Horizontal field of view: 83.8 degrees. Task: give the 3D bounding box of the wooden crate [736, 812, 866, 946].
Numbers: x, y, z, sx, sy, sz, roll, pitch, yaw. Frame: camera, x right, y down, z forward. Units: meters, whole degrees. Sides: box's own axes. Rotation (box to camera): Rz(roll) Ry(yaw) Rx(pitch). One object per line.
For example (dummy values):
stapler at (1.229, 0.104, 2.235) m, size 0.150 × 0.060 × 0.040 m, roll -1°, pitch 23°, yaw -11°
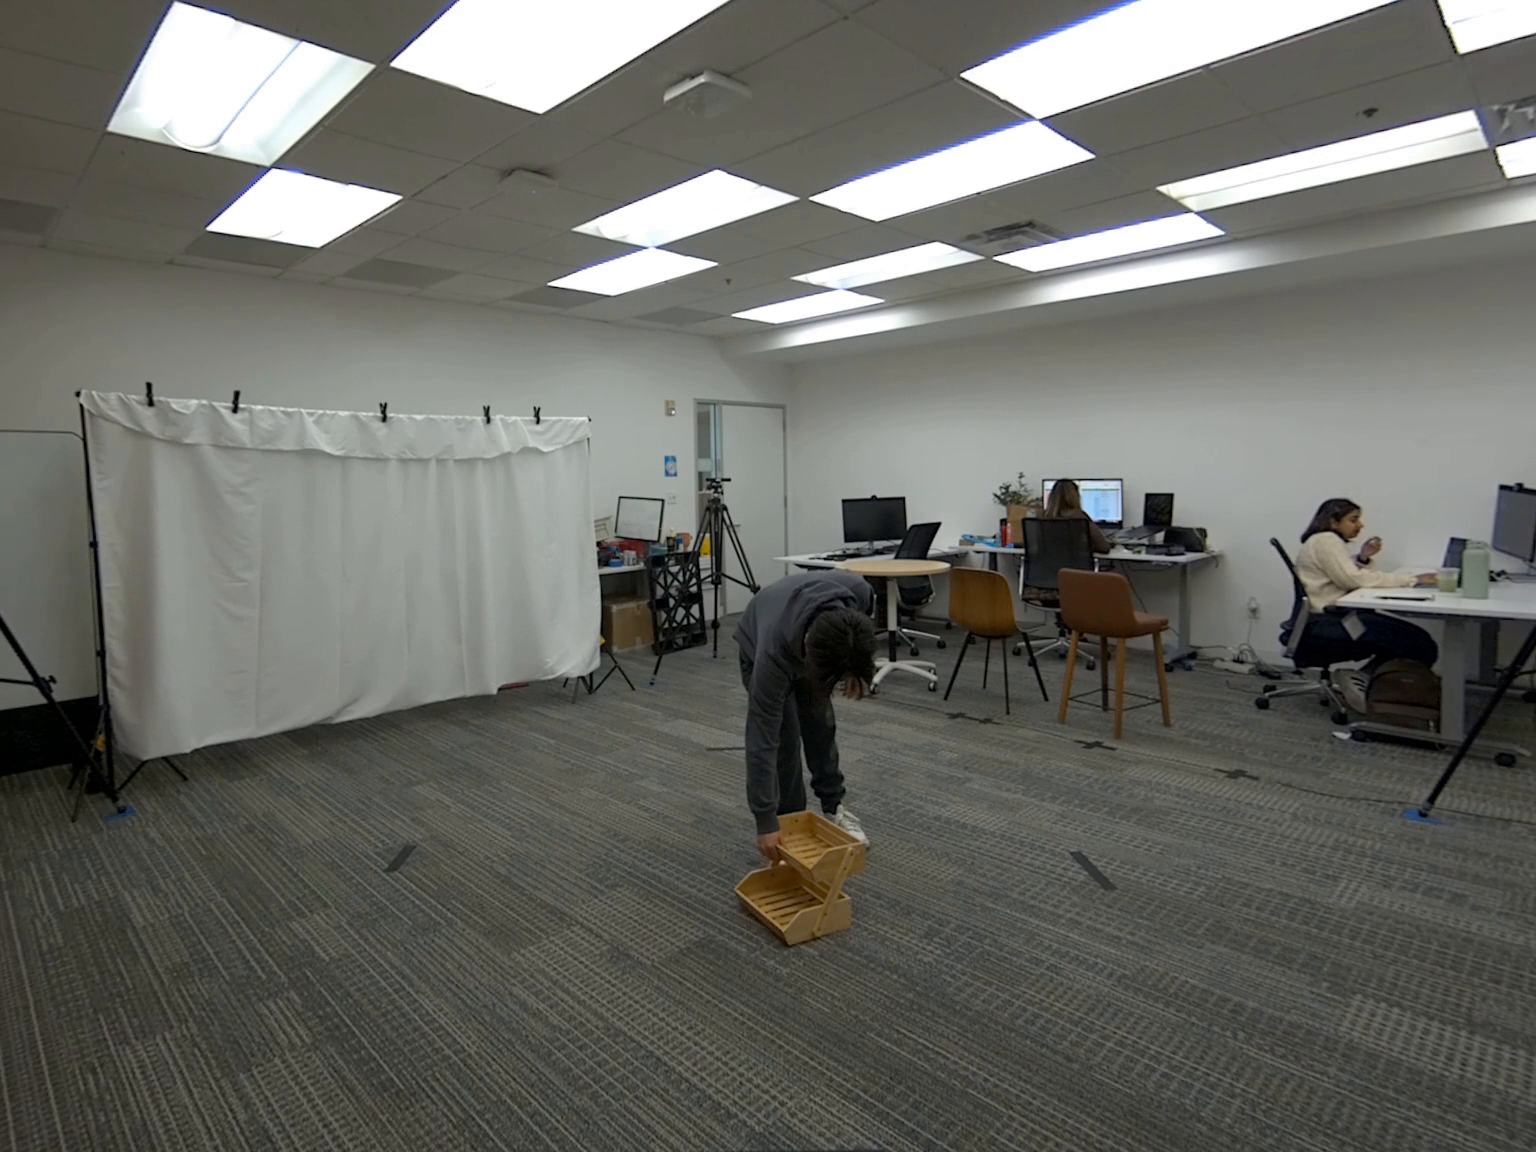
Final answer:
wooden crate at (0.096, 0.948, 2.730) m, size 0.294 × 0.272 × 0.333 m, roll -1°, pitch 4°, yaw -31°
